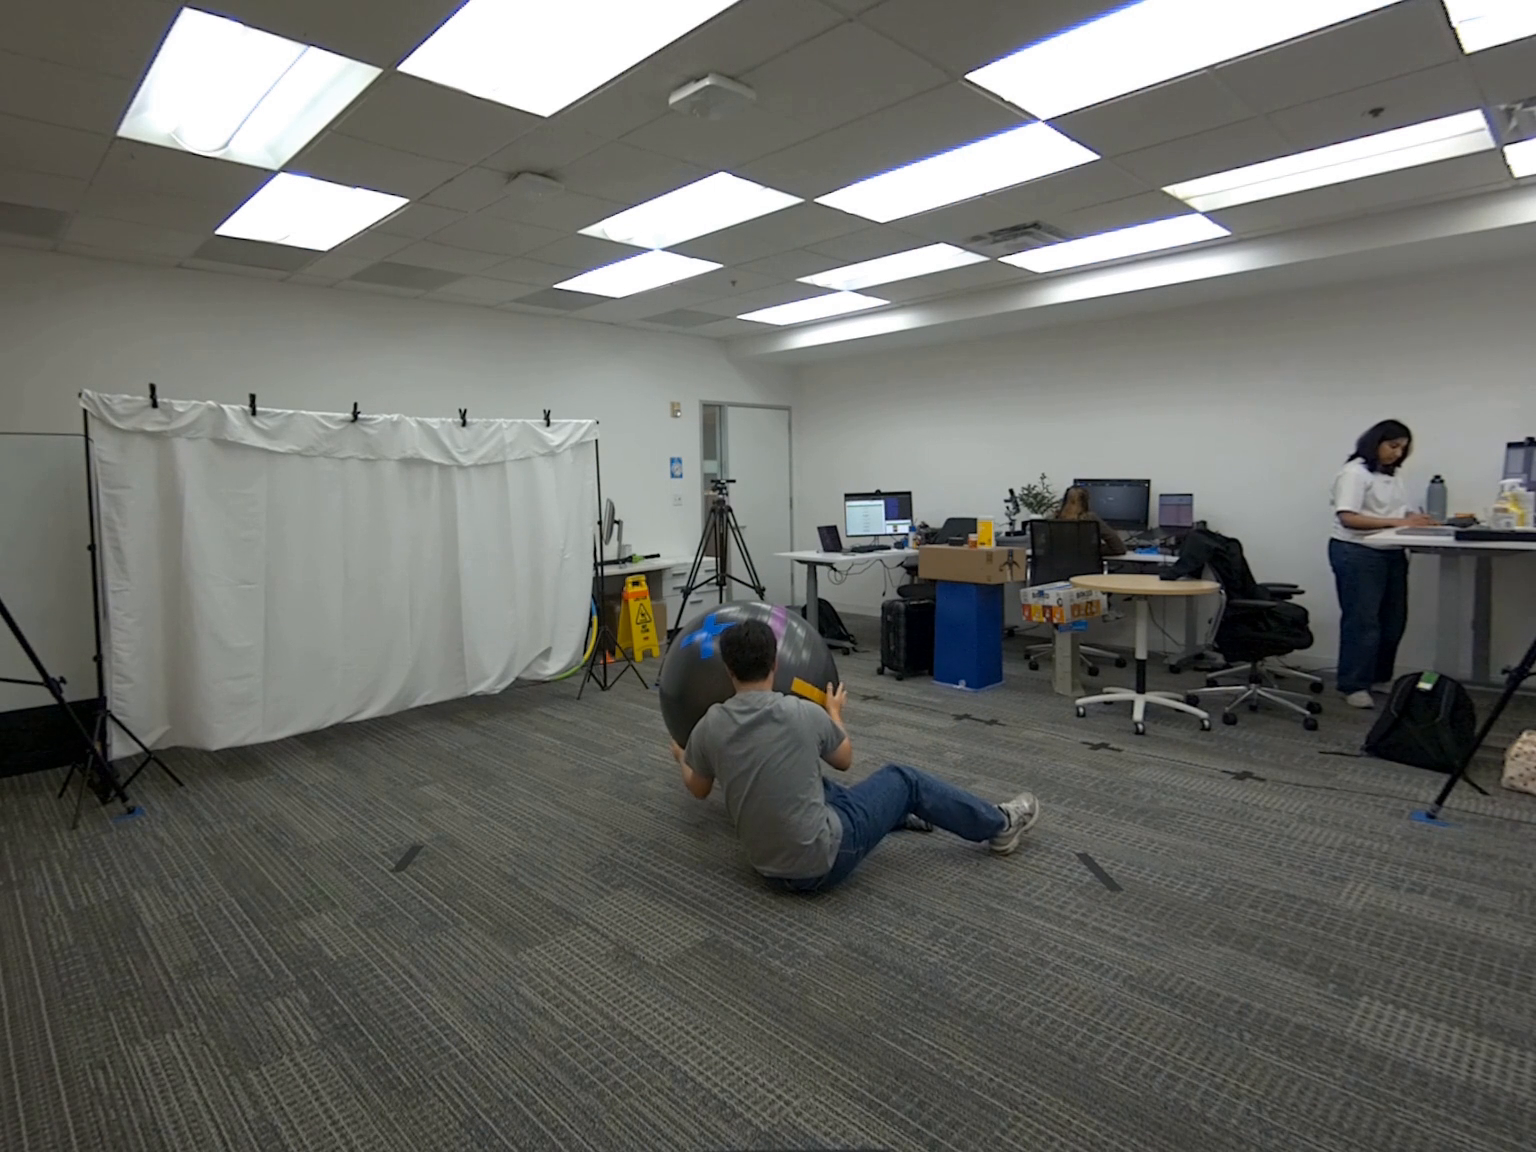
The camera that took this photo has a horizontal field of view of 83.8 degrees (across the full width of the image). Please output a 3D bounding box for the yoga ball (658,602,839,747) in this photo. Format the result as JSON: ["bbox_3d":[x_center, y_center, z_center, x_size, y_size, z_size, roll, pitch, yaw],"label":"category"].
[{"bbox_3d":[-0.080,0.483,3.621,0.757,0.755,0.762,-1,5,-2],"label":"yoga ball"}]
